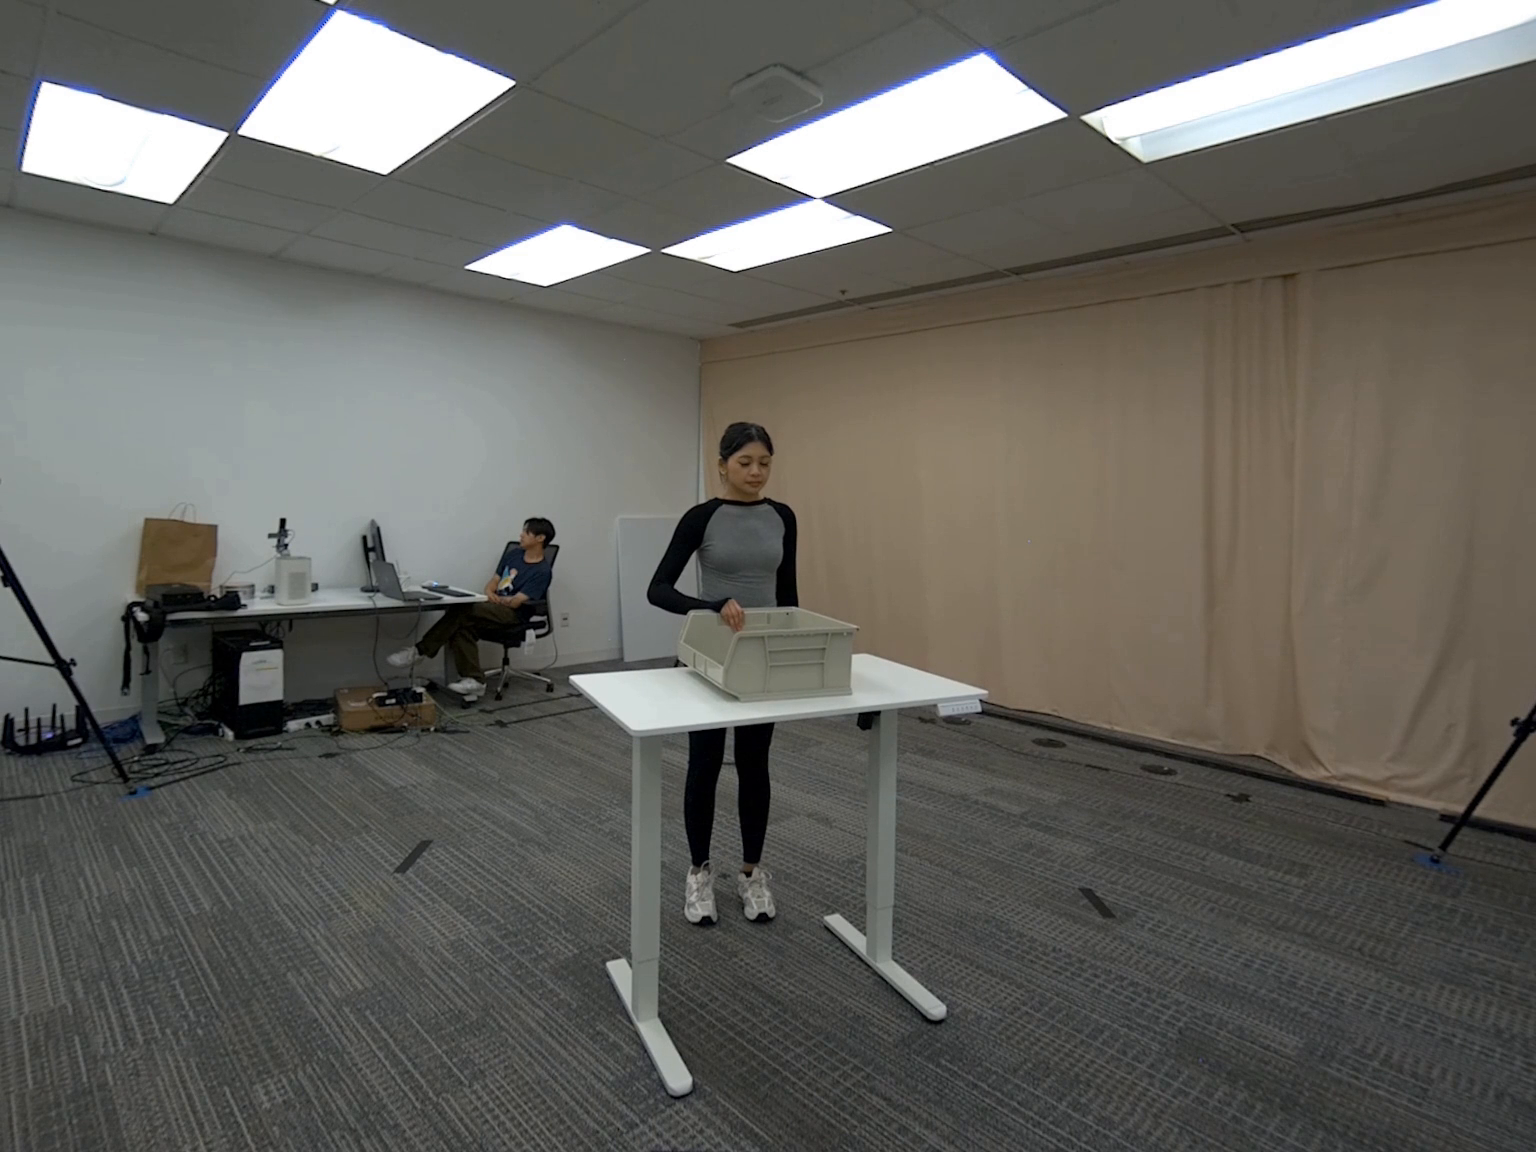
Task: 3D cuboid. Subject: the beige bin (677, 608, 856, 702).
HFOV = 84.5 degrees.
[{"bbox_3d":[-0.024,0.216,2.338,0.372,0.188,0.429,-1,5,-19],"label":"beige bin"}]
